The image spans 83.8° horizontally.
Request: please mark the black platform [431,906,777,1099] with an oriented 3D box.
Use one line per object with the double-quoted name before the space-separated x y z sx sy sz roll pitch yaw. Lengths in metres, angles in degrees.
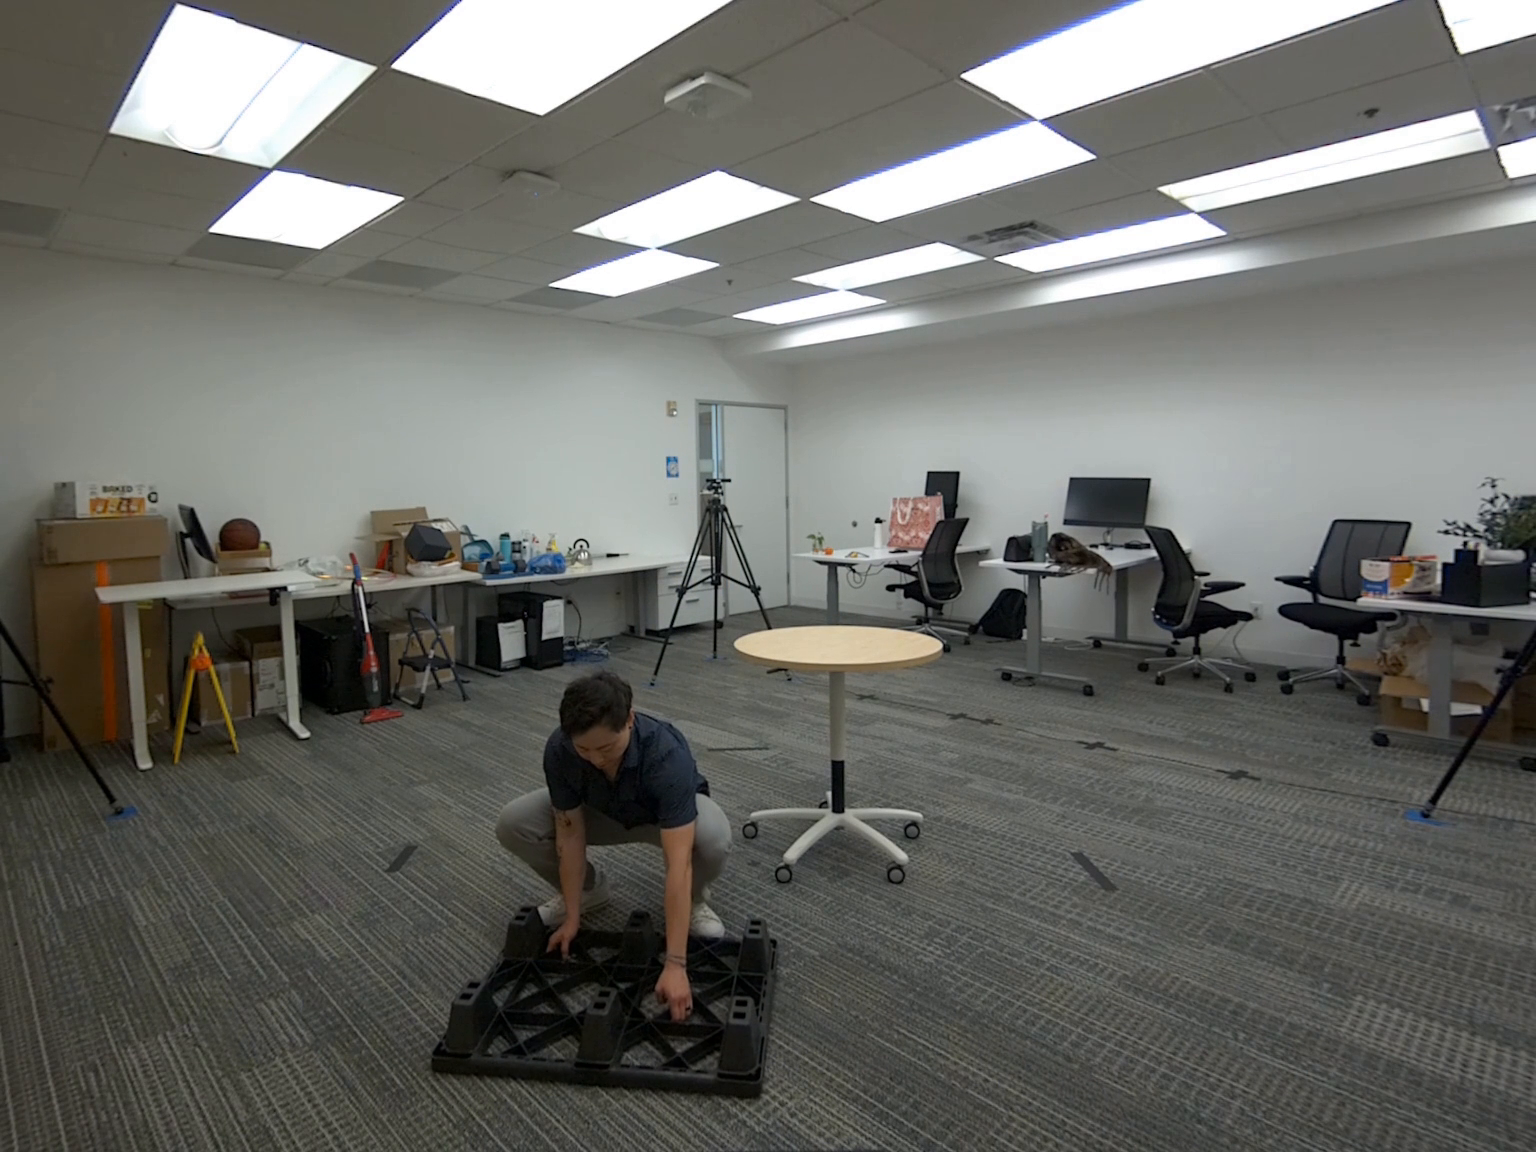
"black platform" -0.389 1.081 2.265 0.811 0.143 0.604 0 6 6
